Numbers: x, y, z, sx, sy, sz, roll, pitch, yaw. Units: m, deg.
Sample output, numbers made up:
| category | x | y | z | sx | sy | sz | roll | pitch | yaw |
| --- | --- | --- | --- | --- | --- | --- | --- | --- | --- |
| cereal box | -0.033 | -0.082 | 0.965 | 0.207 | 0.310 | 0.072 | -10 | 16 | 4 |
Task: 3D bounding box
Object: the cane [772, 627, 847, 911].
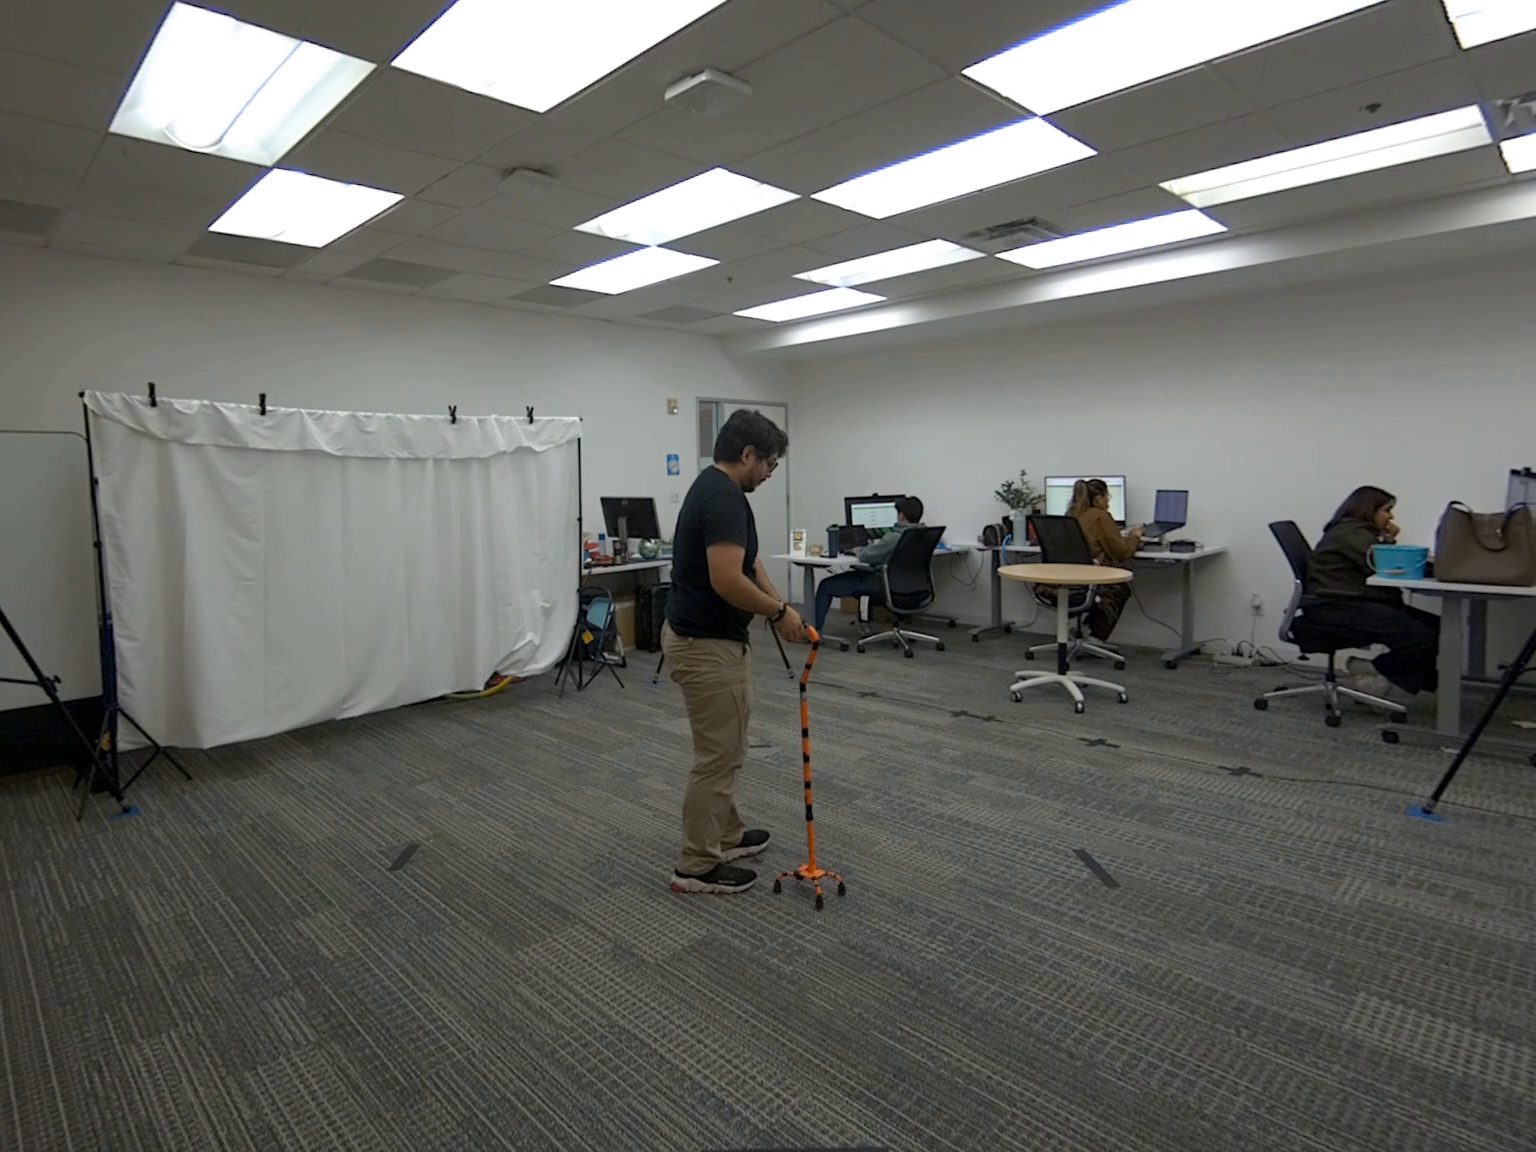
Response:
| category | x | y | z | sx | sy | sz | roll | pitch | yaw |
| --- | --- | --- | --- | --- | --- | --- | --- | --- | --- |
| cane | 0.116 | 0.607 | 2.838 | 0.148 | 0.905 | 0.212 | -6 | 4 | -42 |
